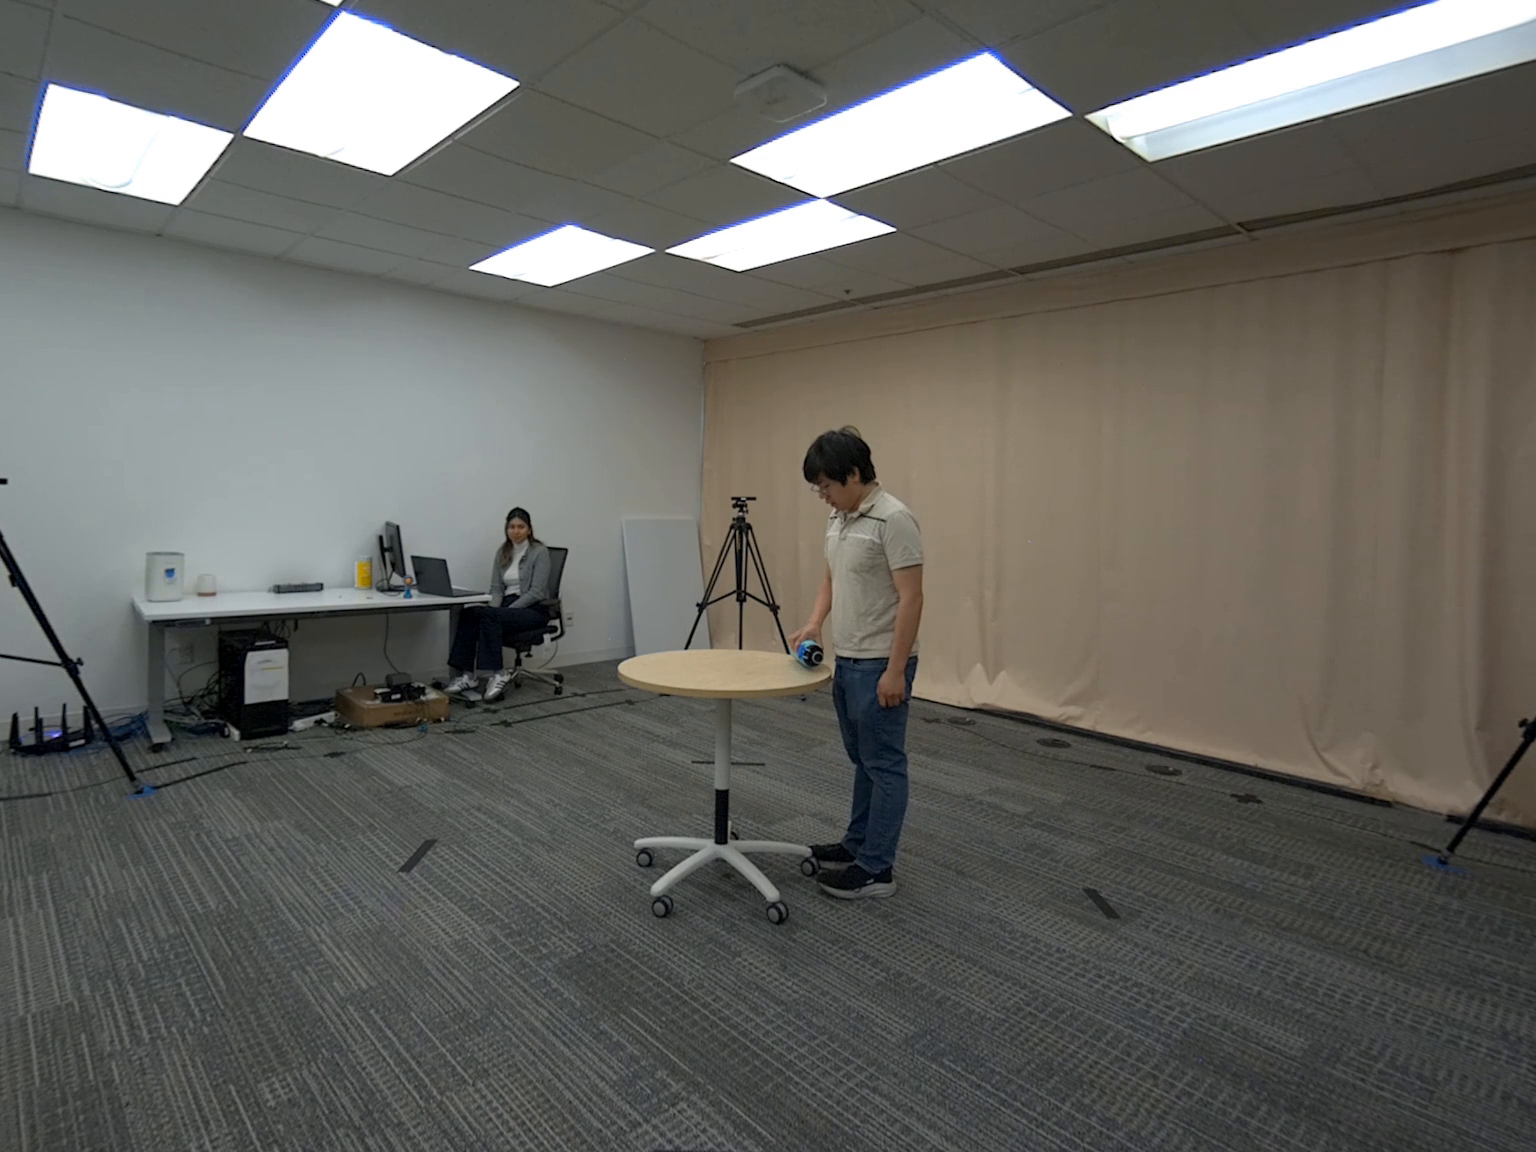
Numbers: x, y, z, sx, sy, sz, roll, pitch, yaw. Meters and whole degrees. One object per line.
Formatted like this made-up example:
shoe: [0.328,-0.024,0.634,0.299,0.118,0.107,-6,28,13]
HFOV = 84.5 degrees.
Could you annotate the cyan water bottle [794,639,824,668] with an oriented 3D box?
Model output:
cyan water bottle: [0.135,0.277,3.077,0.092,0.092,0.284,1,1,-3]
